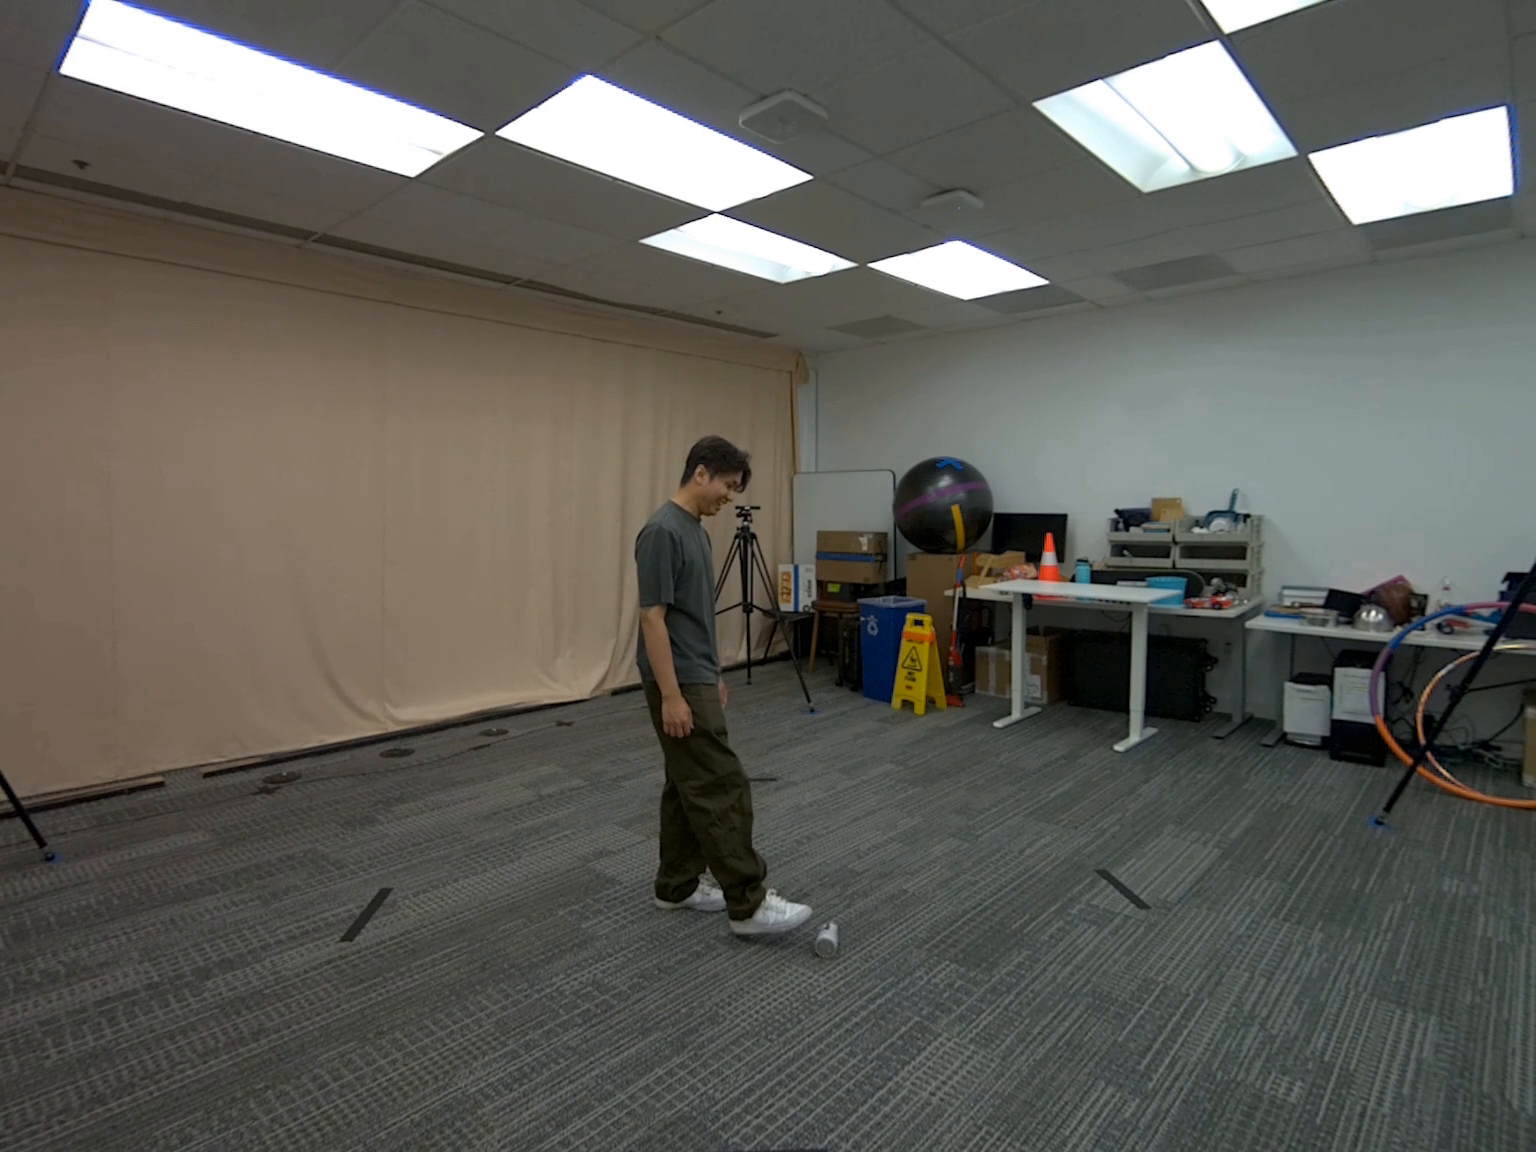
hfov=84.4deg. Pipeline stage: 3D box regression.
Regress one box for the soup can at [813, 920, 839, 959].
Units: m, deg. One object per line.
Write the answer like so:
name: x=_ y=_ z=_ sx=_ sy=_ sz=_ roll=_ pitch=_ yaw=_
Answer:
soup can: x=0.183 y=1.136 z=2.625 sx=0.068 sy=0.067 sz=0.120 roll=1 pitch=3 yaw=11
